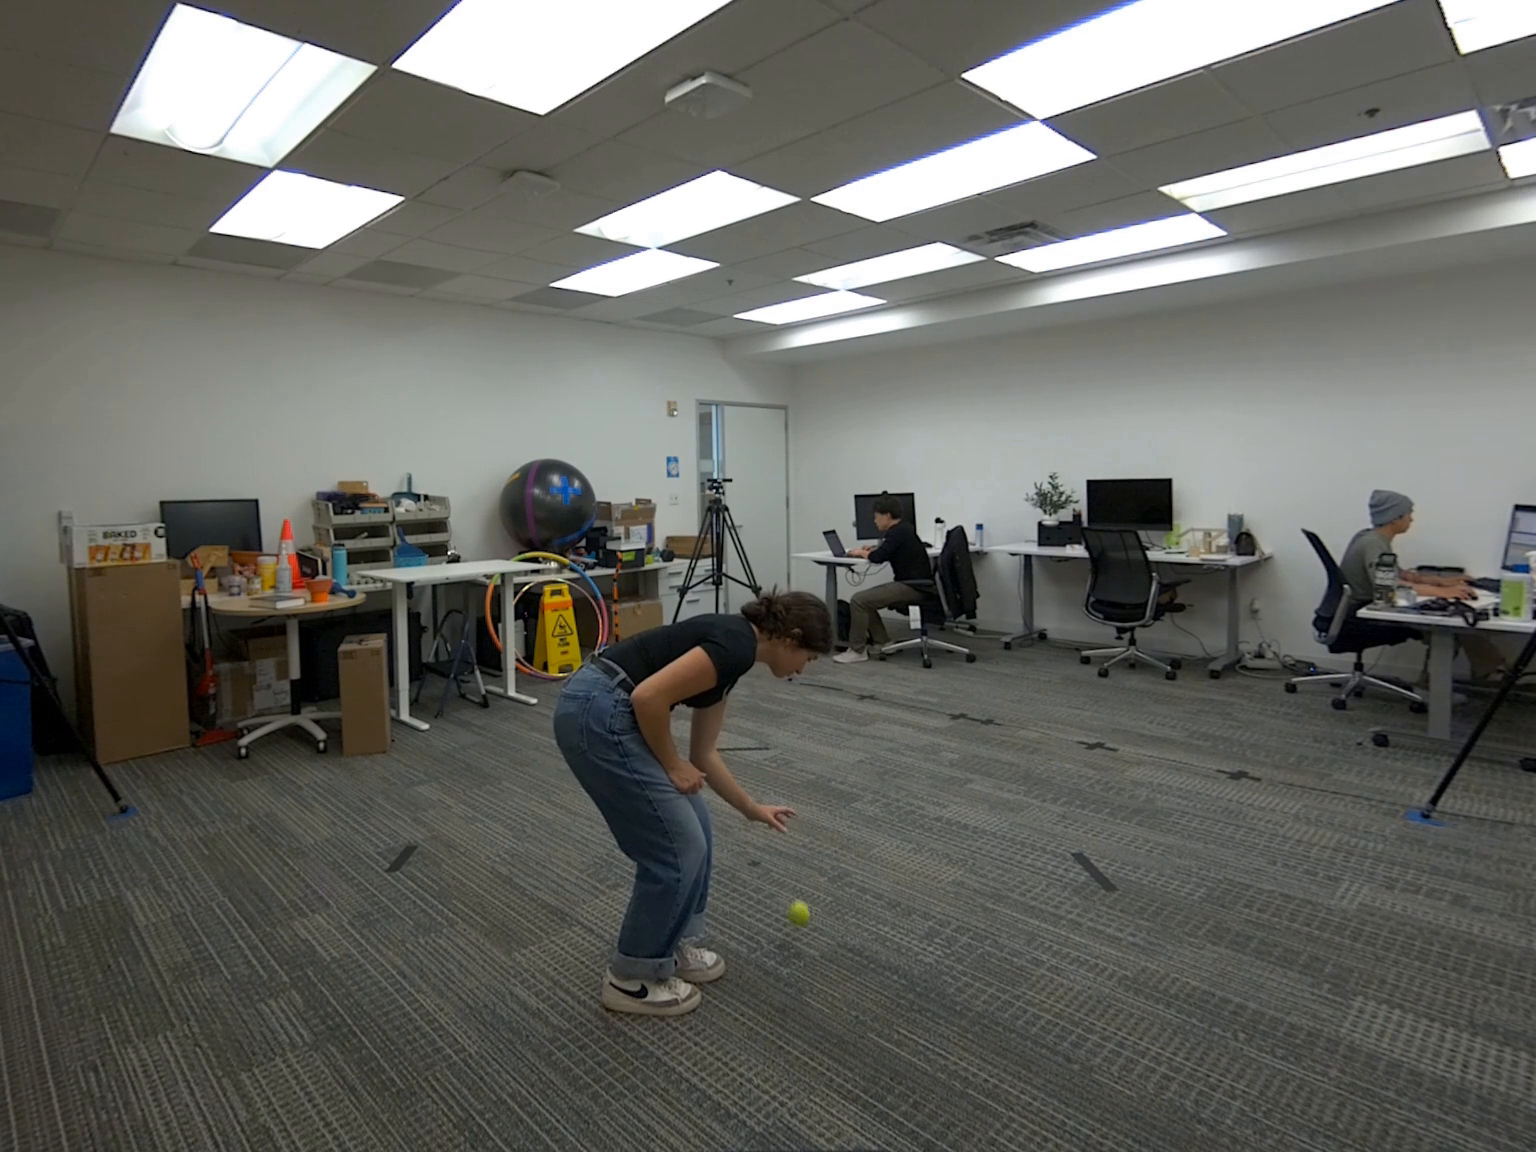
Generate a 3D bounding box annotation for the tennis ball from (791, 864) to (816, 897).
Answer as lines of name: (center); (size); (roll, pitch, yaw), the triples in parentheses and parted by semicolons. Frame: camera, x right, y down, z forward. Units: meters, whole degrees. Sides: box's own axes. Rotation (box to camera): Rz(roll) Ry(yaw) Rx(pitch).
tennis ball: (0.104, 0.907, 2.557); (0.066, 0.066, 0.067); (-1, 5, -2)
